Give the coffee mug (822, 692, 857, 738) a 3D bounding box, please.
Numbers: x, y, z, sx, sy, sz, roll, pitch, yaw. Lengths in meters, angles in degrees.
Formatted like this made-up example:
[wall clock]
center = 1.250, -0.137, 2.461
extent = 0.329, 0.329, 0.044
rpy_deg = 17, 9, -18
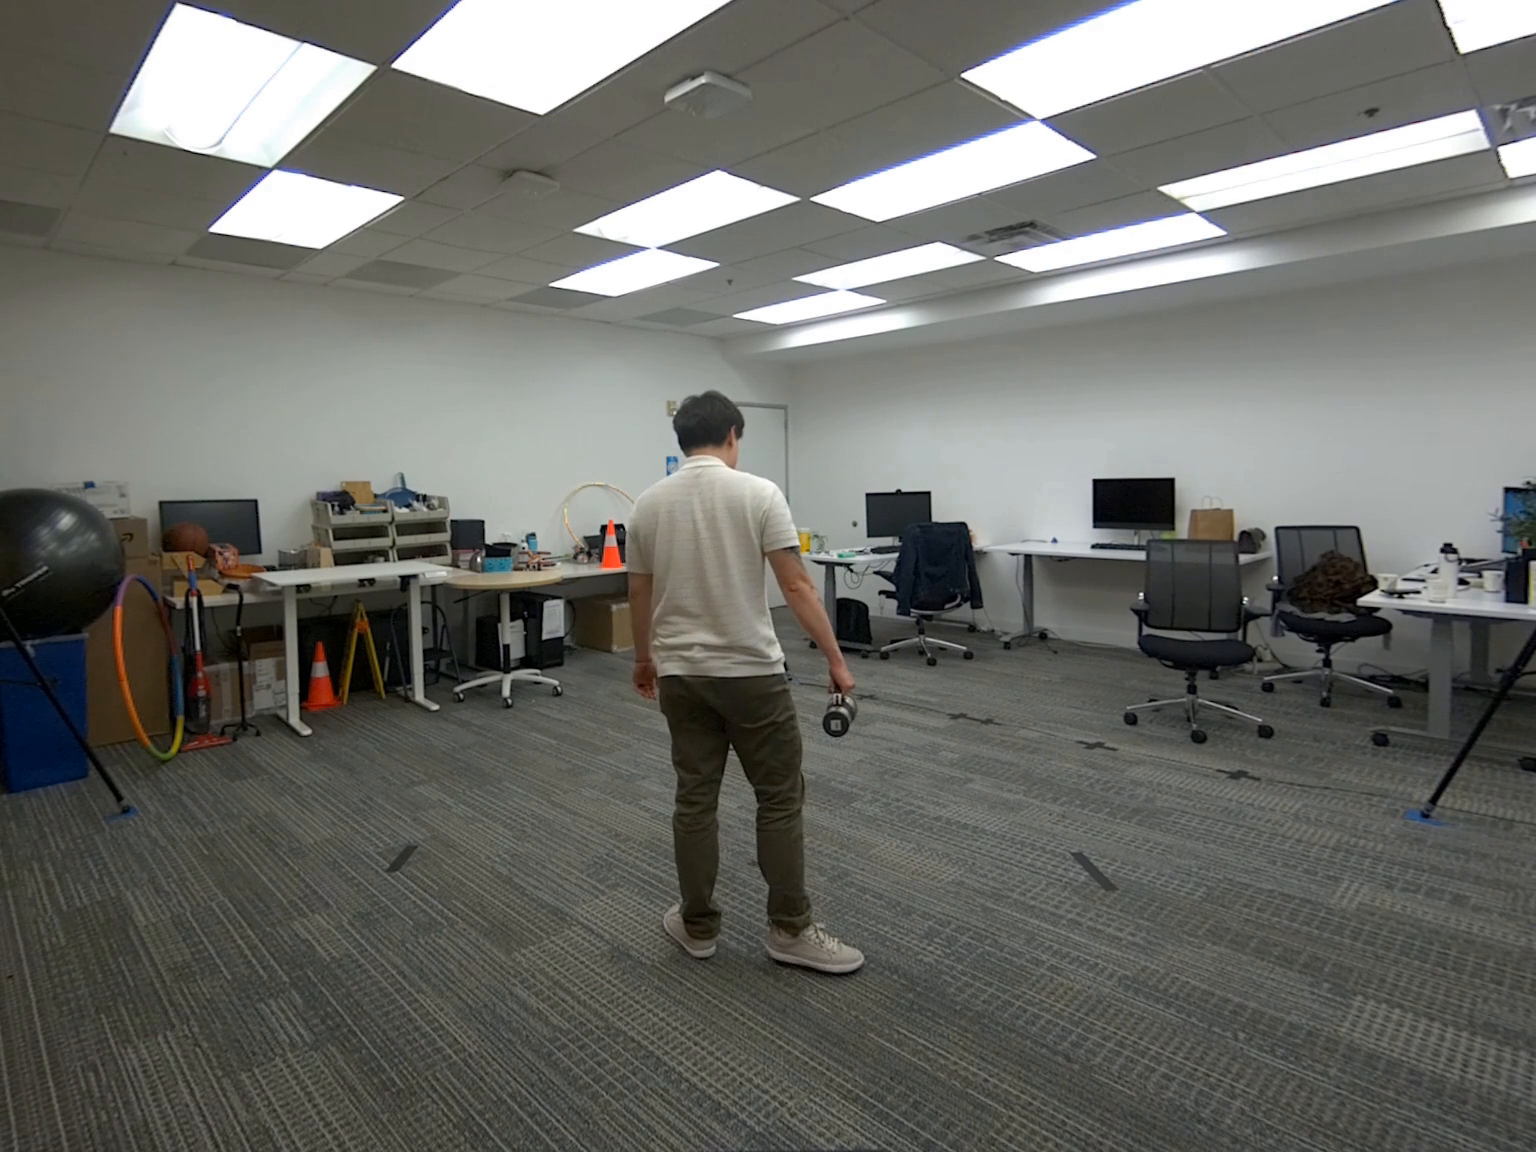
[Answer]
[coffee mug]
center = 0.194, 0.372, 2.382
extent = 0.088, 0.122, 0.200
rpy_deg = -17, -3, 12
